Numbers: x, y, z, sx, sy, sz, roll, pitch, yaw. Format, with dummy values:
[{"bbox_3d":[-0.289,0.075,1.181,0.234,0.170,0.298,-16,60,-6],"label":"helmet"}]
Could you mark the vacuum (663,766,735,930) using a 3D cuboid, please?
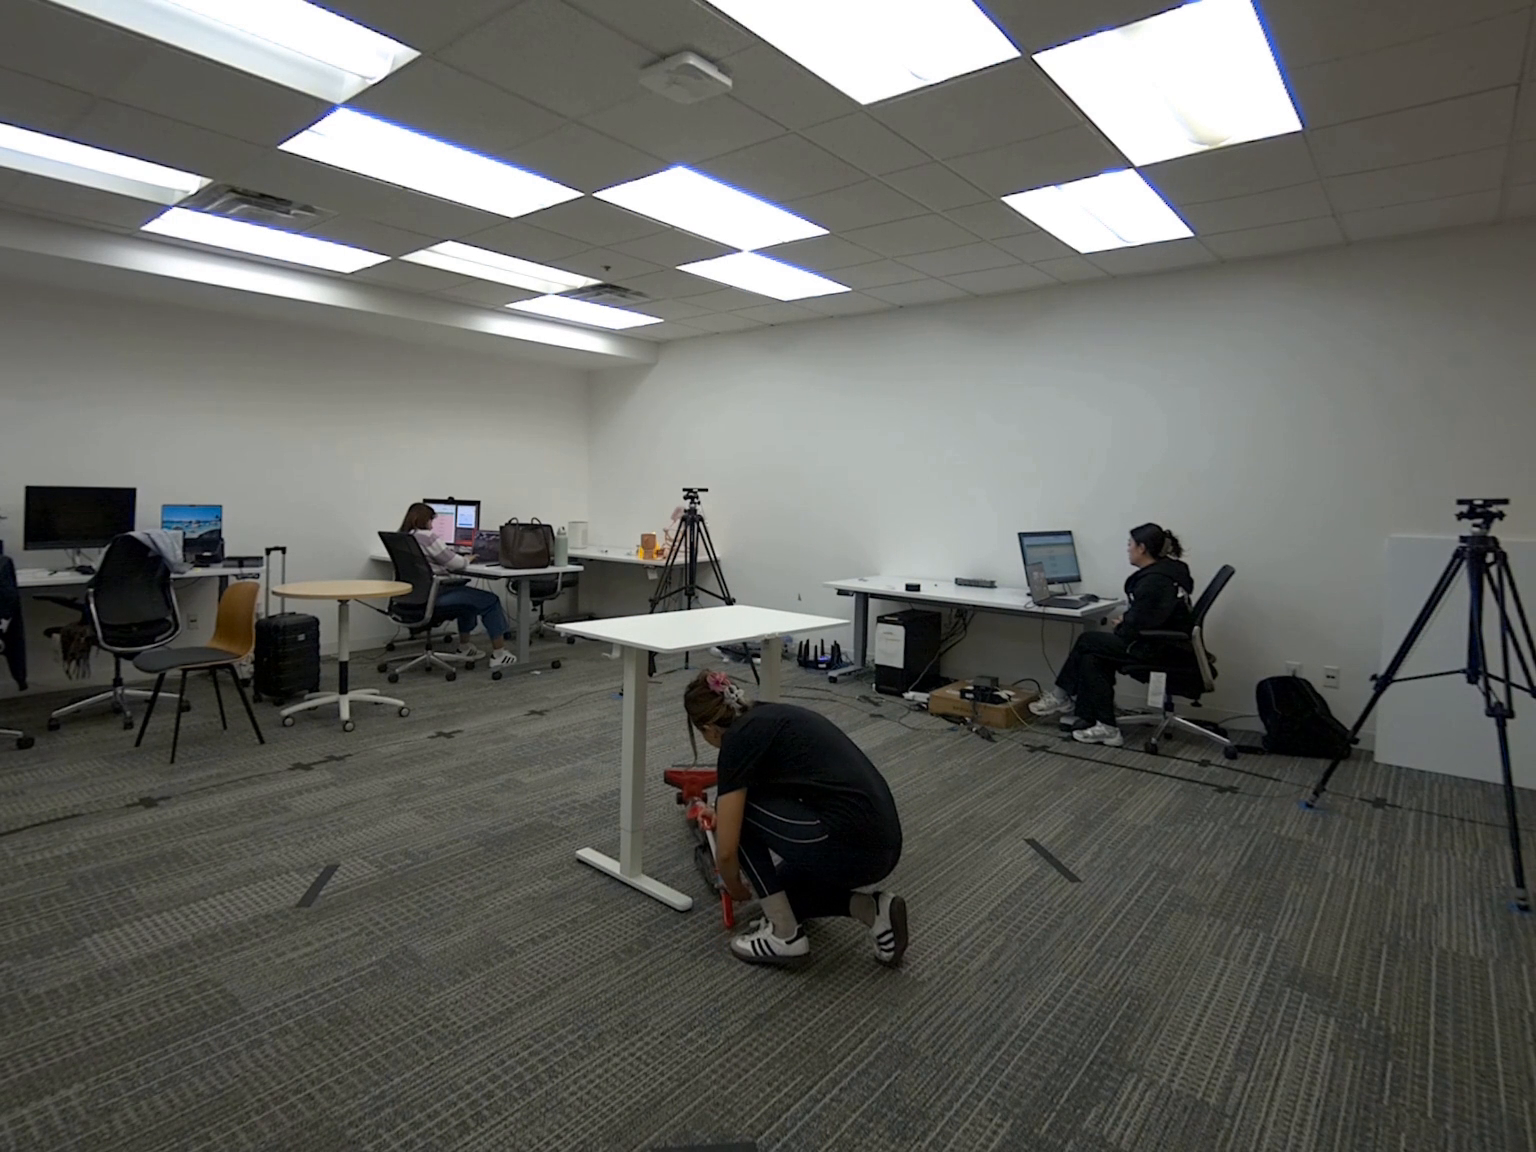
[{"bbox_3d":[-0.233,0.992,3.196,0.250,0.143,1.069,0,9,-12],"label":"vacuum"}]
